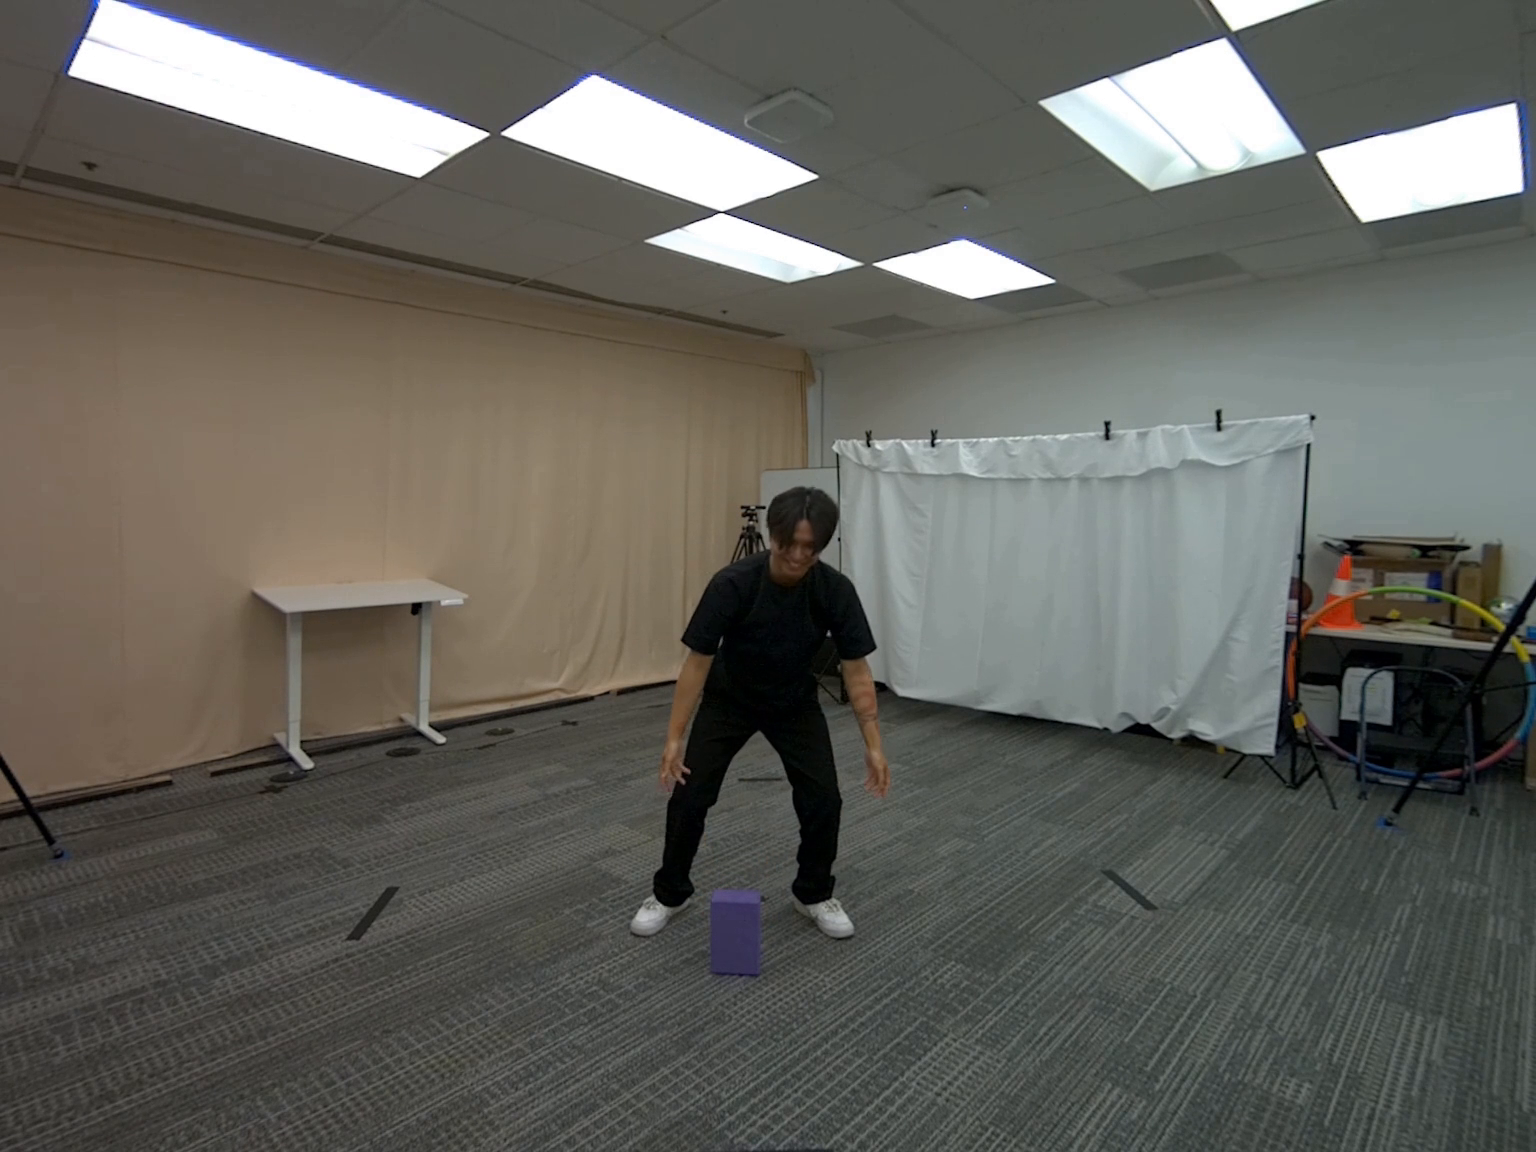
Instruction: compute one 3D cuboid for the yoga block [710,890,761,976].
[{"bbox_3d":[-0.094,1.071,2.519,0.150,0.229,0.076,2,2,4],"label":"yoga block"}]
